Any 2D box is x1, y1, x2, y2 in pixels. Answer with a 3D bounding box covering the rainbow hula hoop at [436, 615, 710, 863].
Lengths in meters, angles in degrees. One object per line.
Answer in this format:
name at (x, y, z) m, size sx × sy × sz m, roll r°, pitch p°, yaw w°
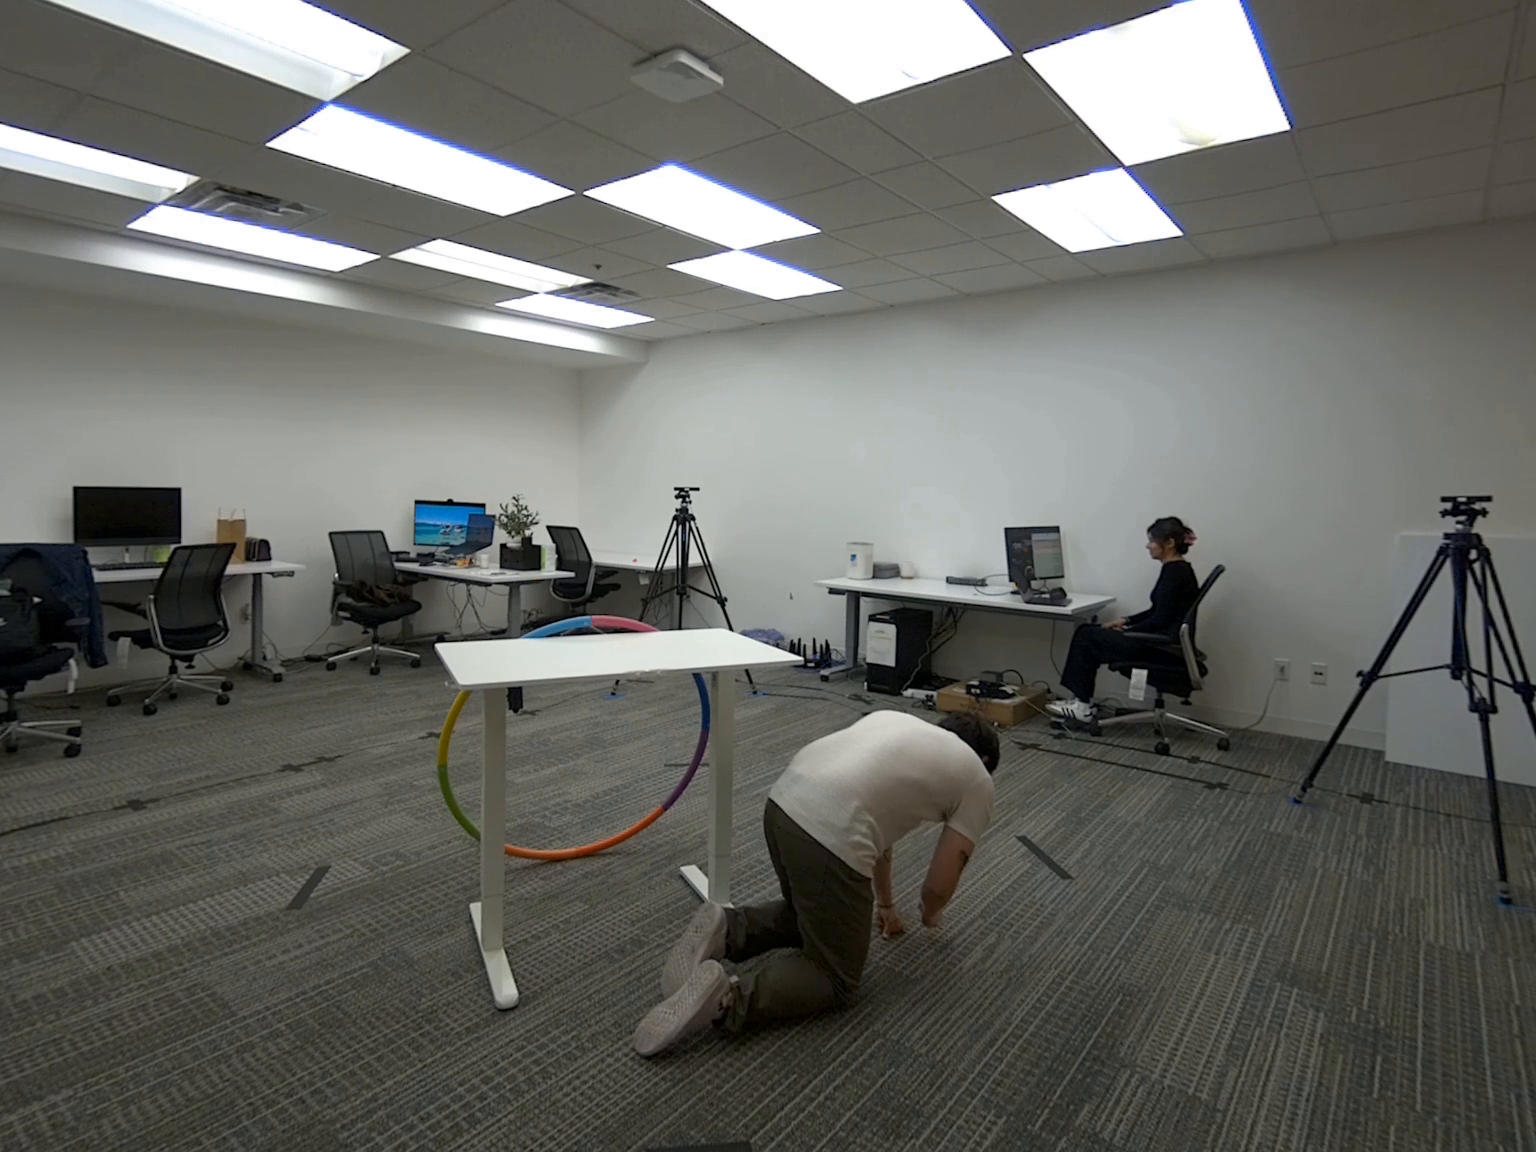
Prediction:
rainbow hula hoop at (-0.684, 0.599, 3.046) m, size 0.956 × 0.965 × 0.037 m, roll -1°, pitch 20°, yaw -25°
